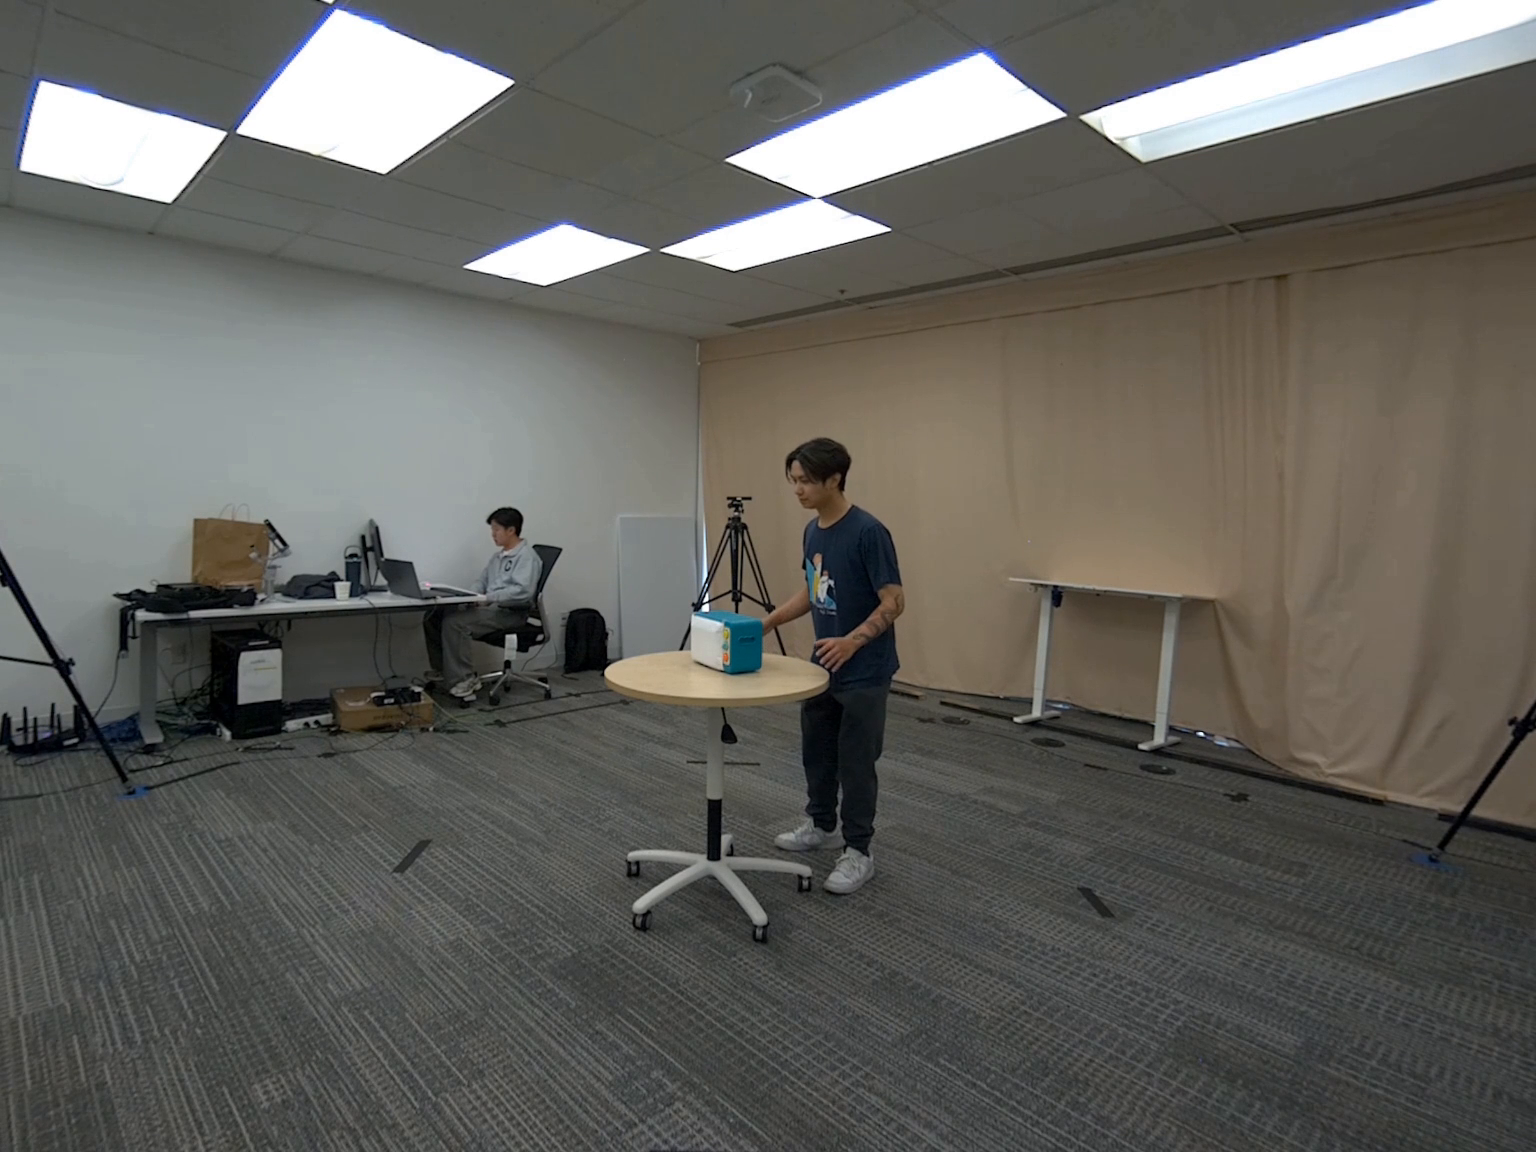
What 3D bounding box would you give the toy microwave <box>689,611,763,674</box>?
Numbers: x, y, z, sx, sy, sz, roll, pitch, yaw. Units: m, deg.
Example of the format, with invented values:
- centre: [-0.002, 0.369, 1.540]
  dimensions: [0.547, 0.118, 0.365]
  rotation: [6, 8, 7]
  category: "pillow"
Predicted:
- centre: [-0.159, 0.228, 2.949]
  dimensions: [0.149, 0.183, 0.293]
  rotation: [-2, 6, -33]
  category: "toy microwave"
